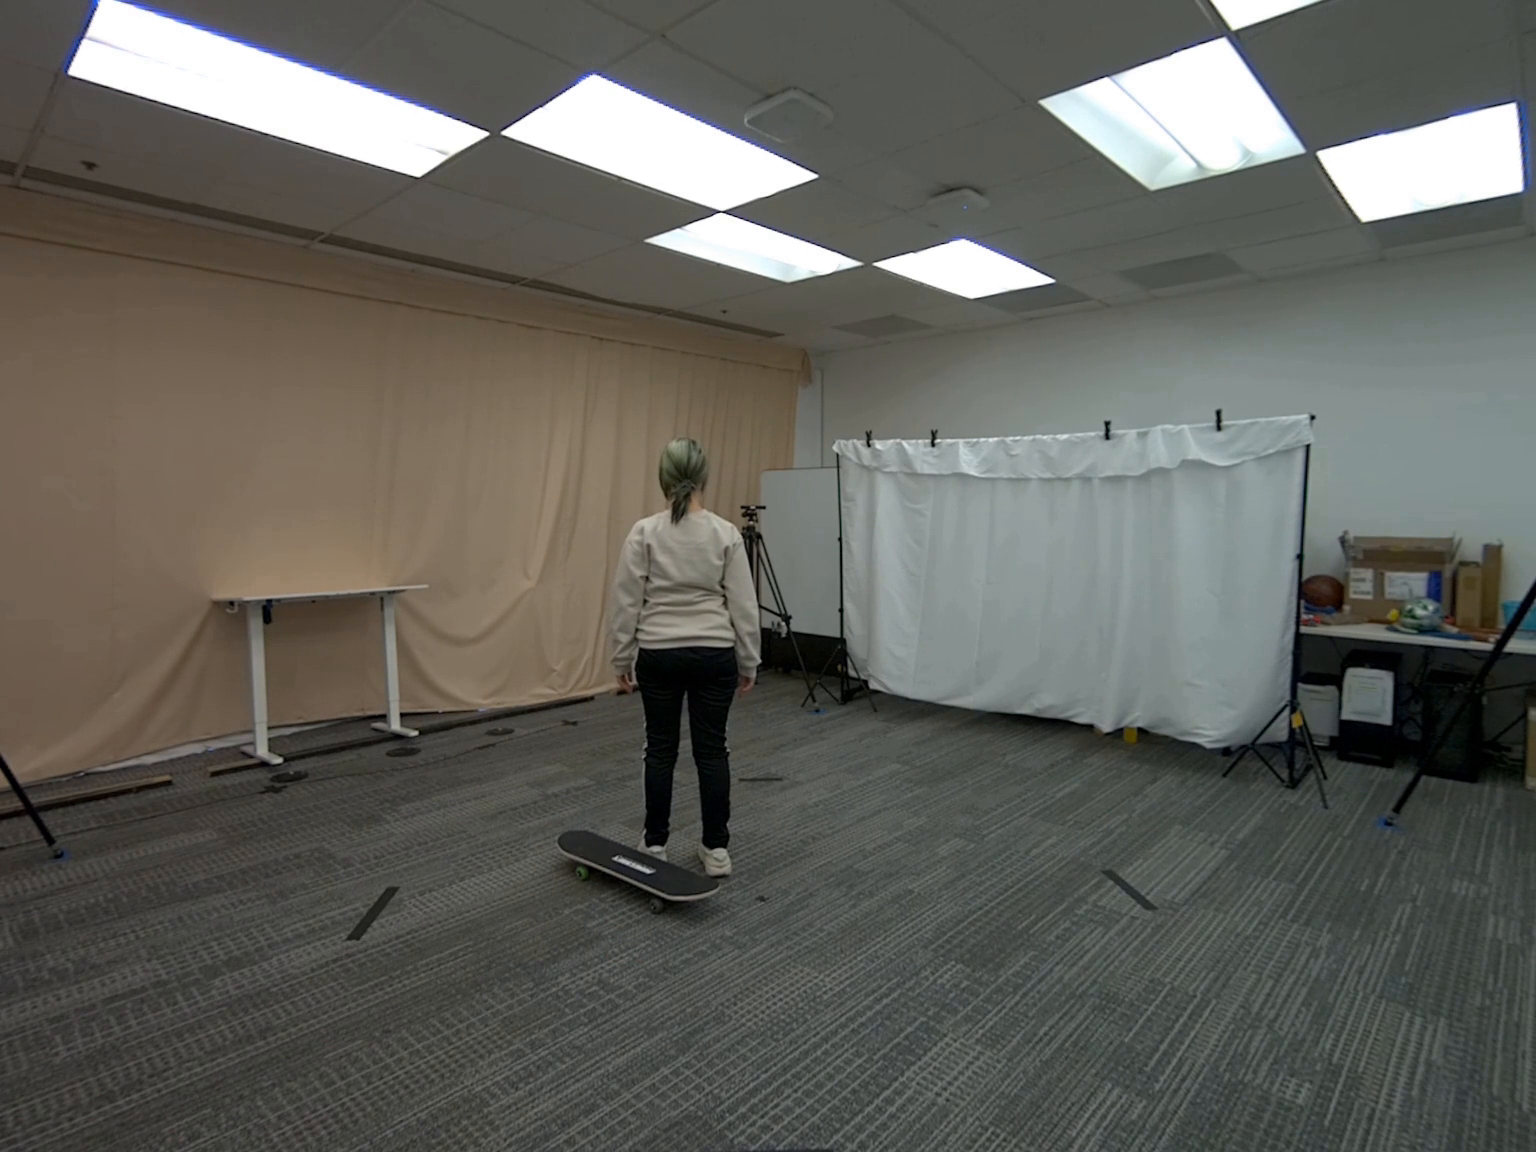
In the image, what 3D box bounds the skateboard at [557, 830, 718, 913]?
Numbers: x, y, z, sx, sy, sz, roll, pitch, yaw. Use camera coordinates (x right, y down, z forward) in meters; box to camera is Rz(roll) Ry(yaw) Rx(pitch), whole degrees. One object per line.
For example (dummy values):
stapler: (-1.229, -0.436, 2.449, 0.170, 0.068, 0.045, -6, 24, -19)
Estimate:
skateboard: (-0.492, 1.084, 3.073, 0.811, 0.110, 0.187, 3, 6, 40)
